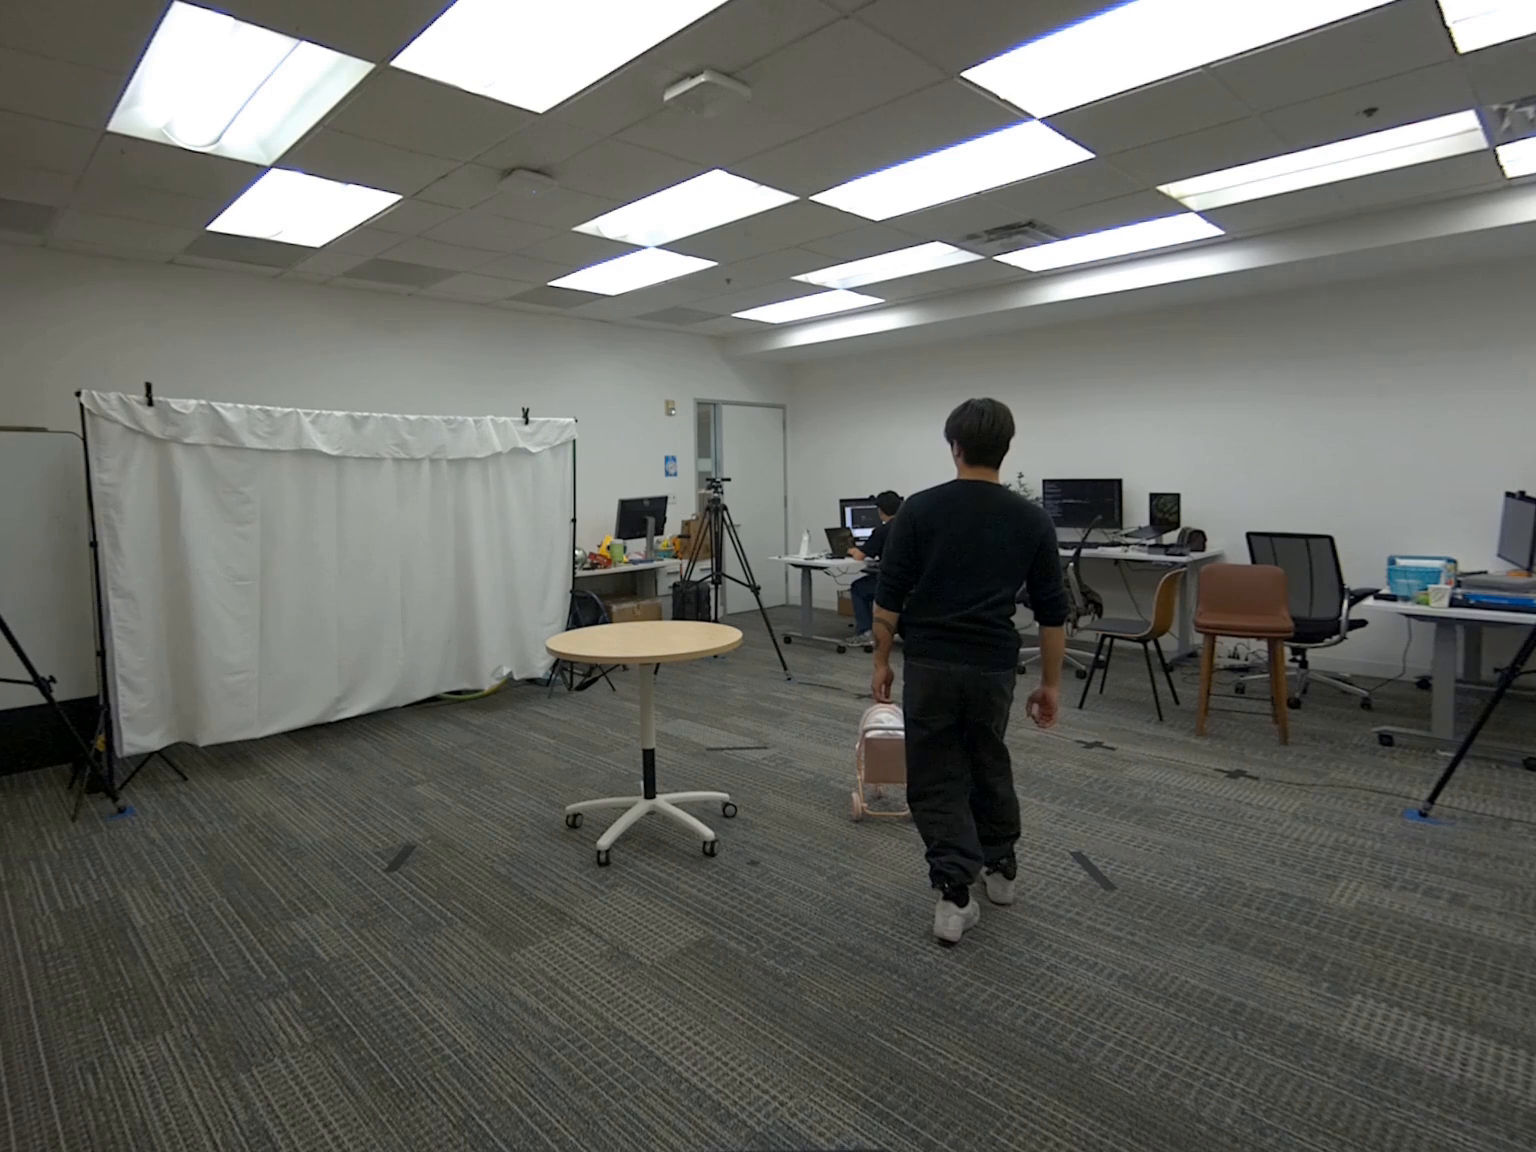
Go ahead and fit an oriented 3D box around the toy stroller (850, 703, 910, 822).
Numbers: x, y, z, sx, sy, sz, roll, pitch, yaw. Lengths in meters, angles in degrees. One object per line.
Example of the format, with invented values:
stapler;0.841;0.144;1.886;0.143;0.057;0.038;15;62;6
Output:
toy stroller;0.486;0.763;3.536;0.283;0.526;0.345;0;19;5
